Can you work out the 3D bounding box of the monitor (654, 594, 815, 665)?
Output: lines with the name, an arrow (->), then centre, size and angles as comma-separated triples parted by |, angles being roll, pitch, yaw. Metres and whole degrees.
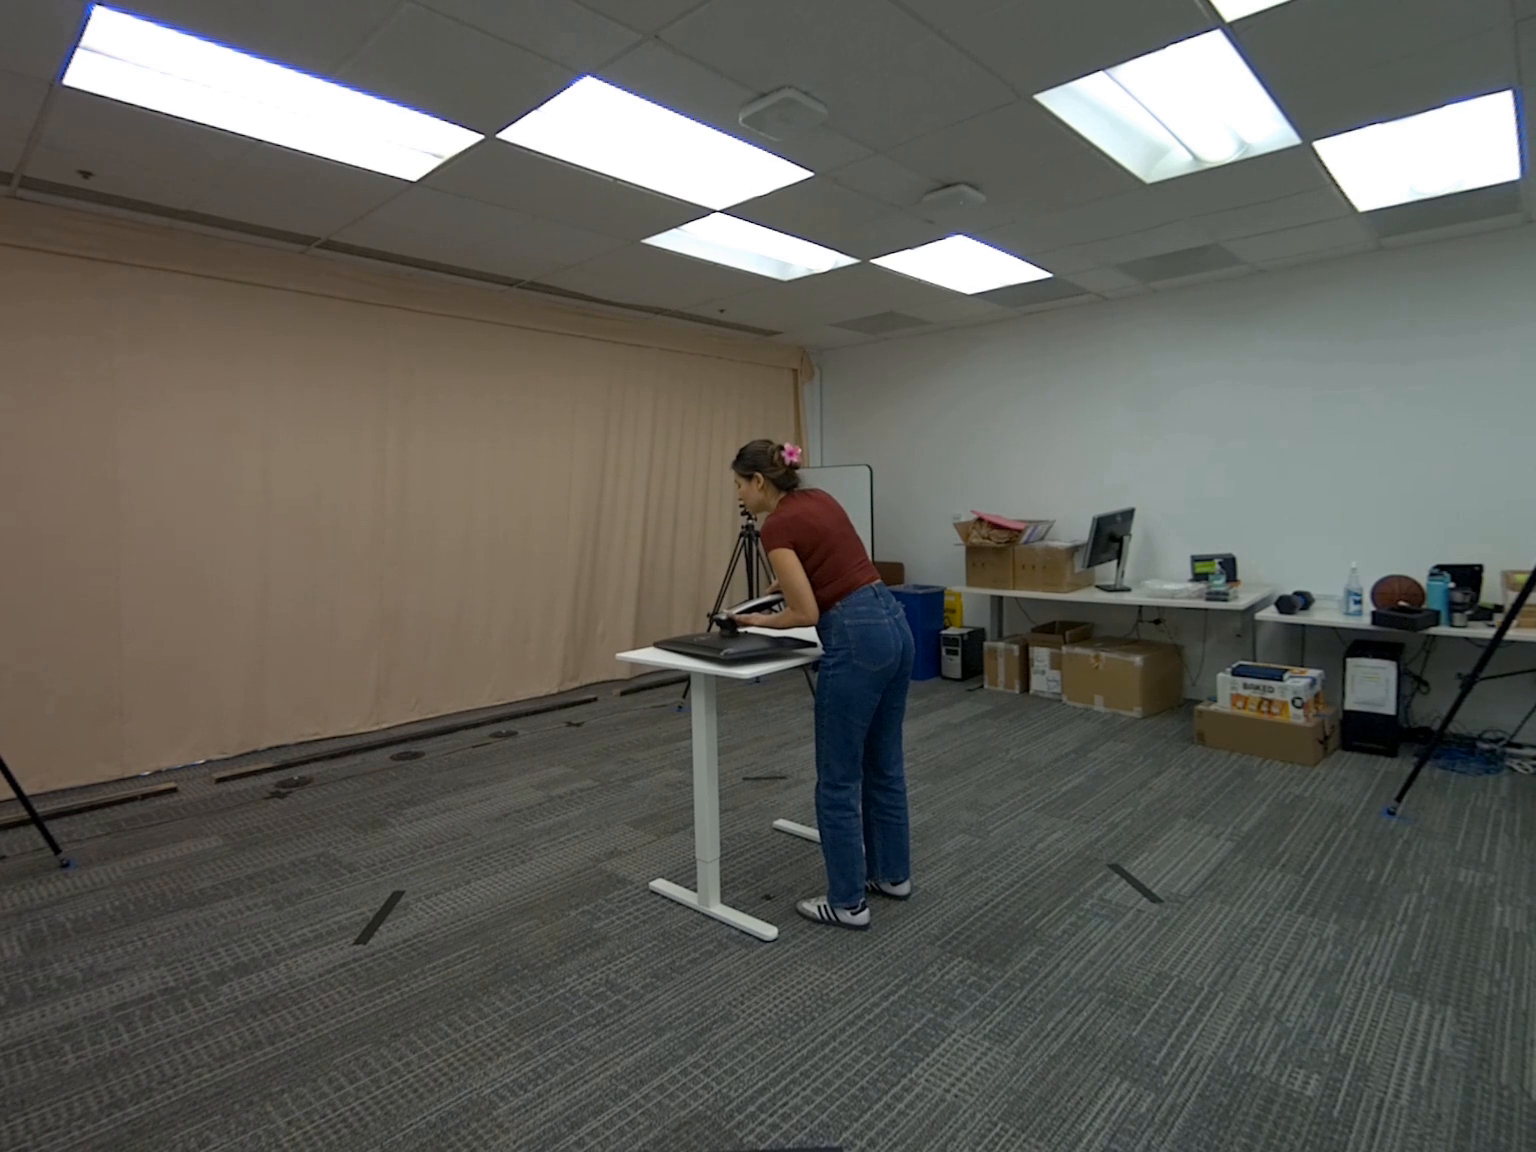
monitor -> -0.072, 0.173, 2.985 | 0.513, 0.185, 0.553 | -24, 11, -27
